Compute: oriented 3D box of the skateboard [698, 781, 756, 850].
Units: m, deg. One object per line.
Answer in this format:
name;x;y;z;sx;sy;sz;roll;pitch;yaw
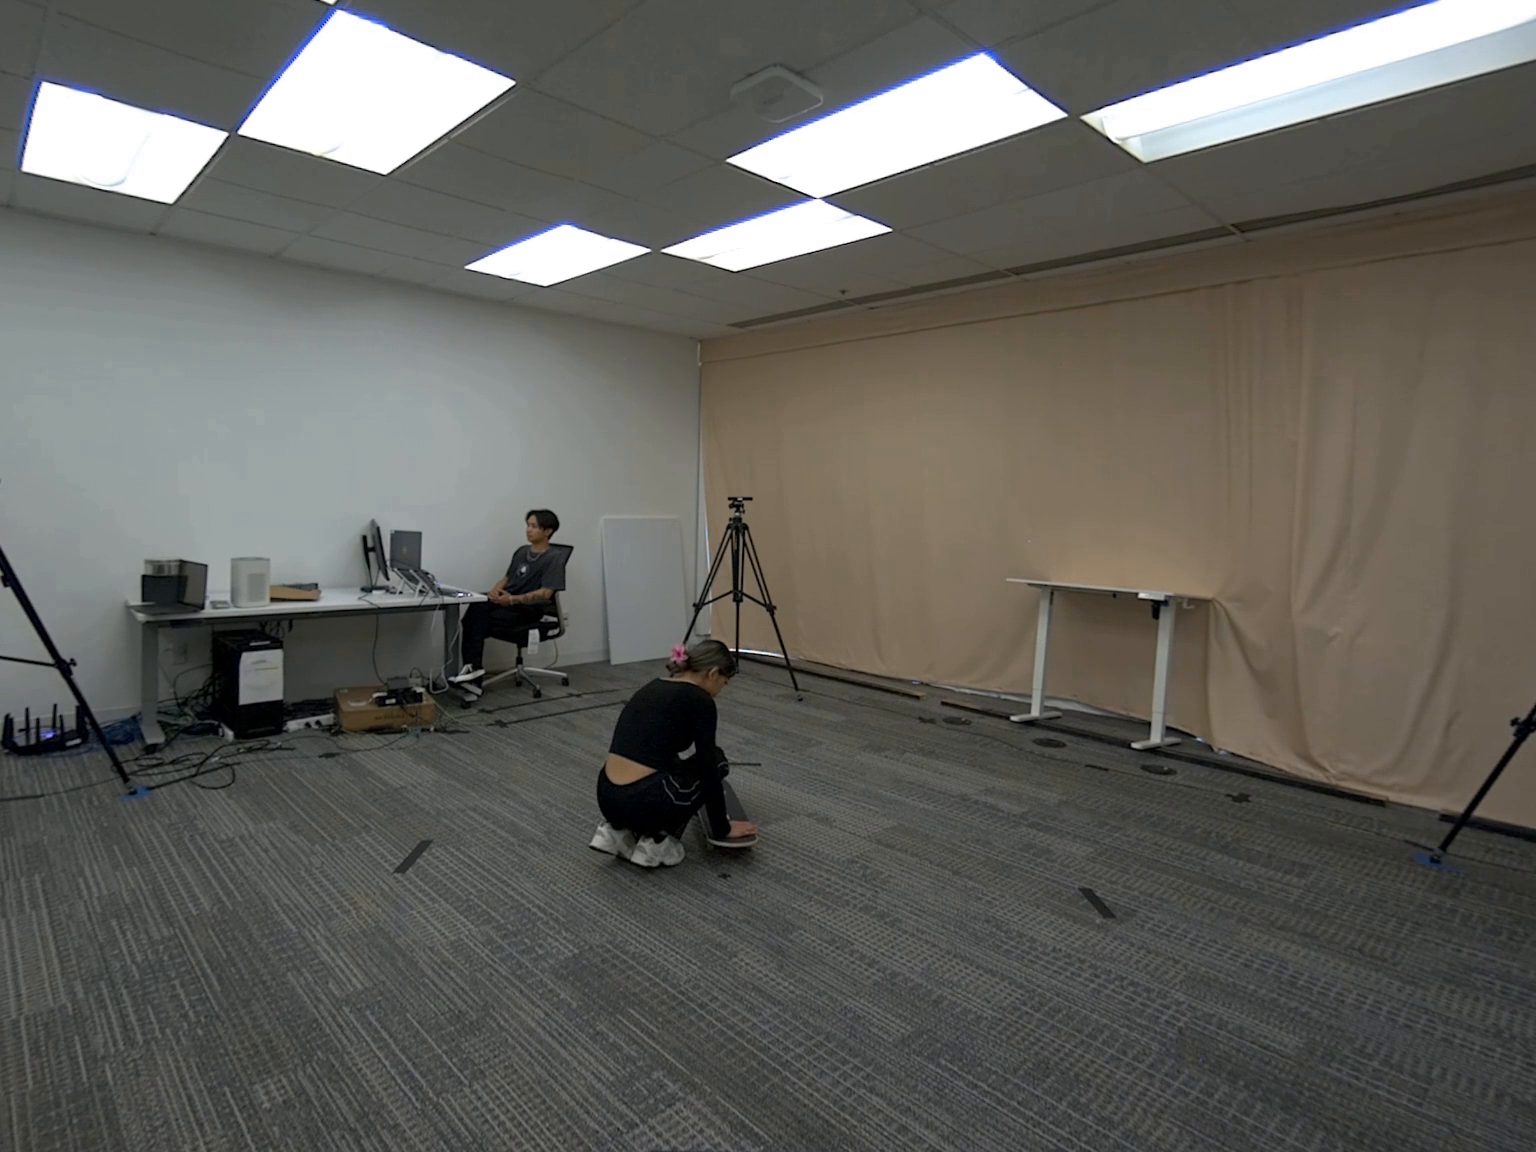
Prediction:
skateboard;-0.204;1.011;3.528;0.191;0.110;0.795;1;5;-13
